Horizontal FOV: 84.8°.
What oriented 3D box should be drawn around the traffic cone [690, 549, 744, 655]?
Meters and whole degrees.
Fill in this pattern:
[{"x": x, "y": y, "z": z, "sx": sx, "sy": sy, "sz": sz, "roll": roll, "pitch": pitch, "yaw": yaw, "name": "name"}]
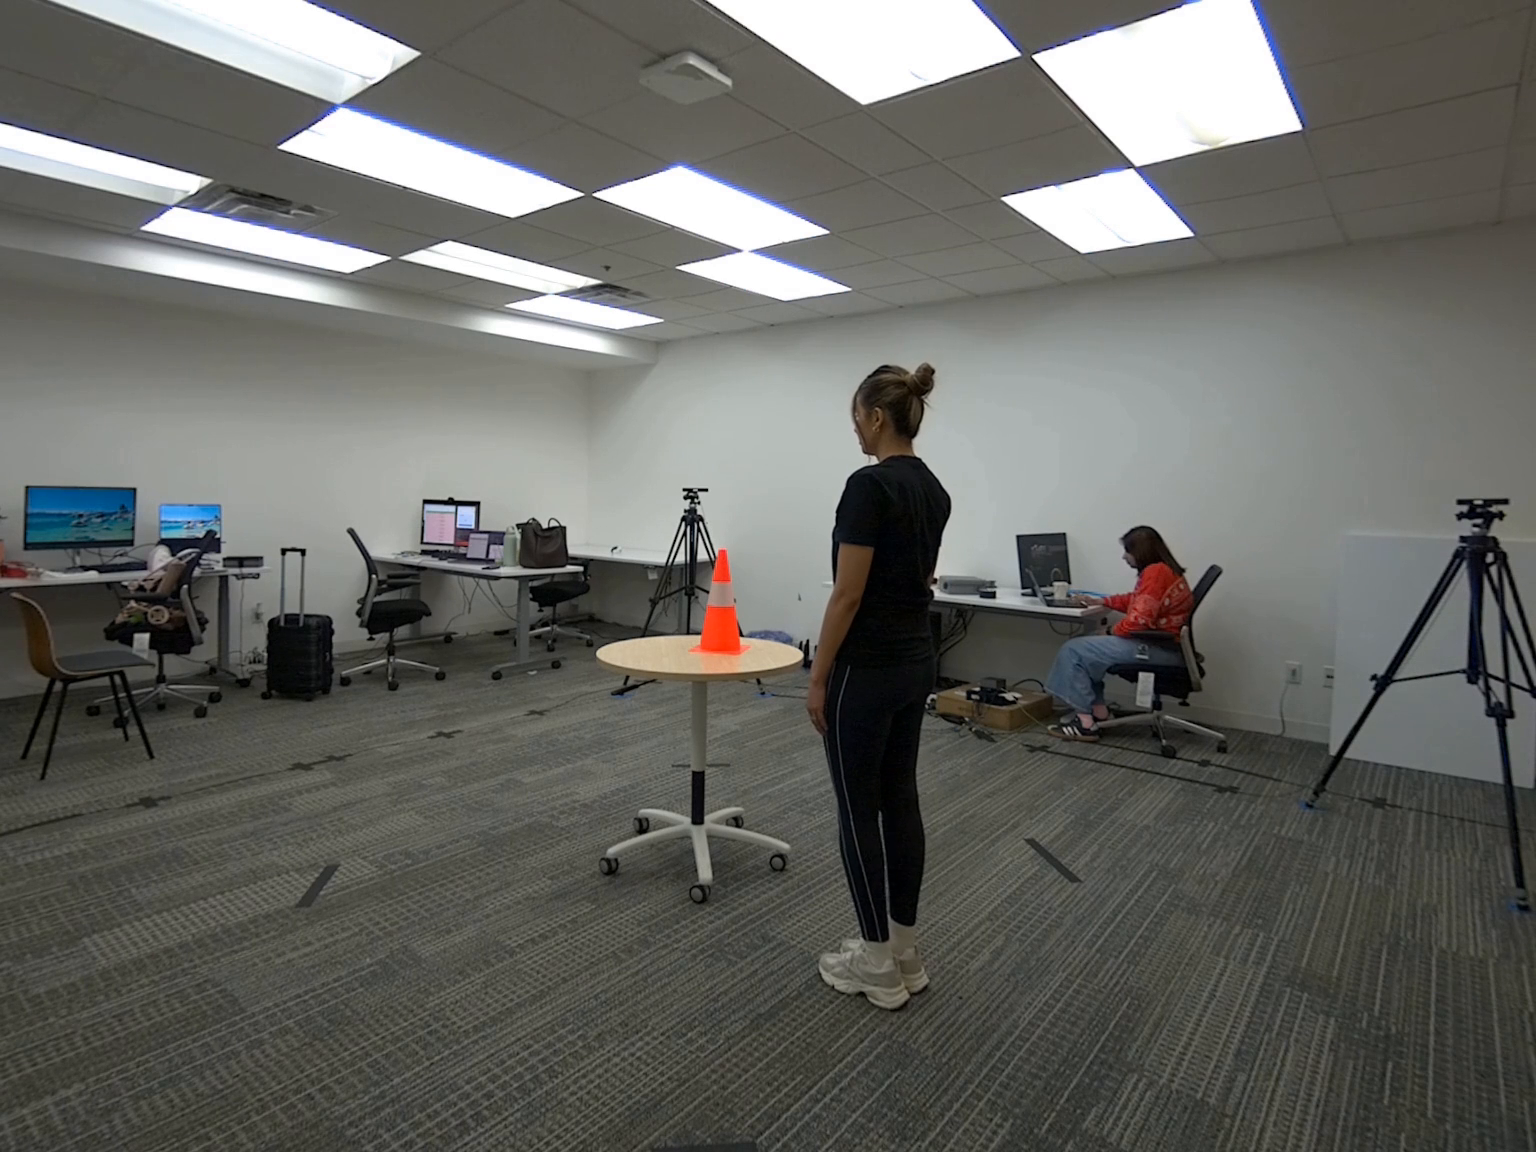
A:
[{"x": -0.193, "y": 0.088, "z": 3.216, "sx": 0.208, "sy": 0.382, "sz": 0.201, "roll": 2, "pitch": 6, "yaw": 21, "name": "traffic cone"}]
